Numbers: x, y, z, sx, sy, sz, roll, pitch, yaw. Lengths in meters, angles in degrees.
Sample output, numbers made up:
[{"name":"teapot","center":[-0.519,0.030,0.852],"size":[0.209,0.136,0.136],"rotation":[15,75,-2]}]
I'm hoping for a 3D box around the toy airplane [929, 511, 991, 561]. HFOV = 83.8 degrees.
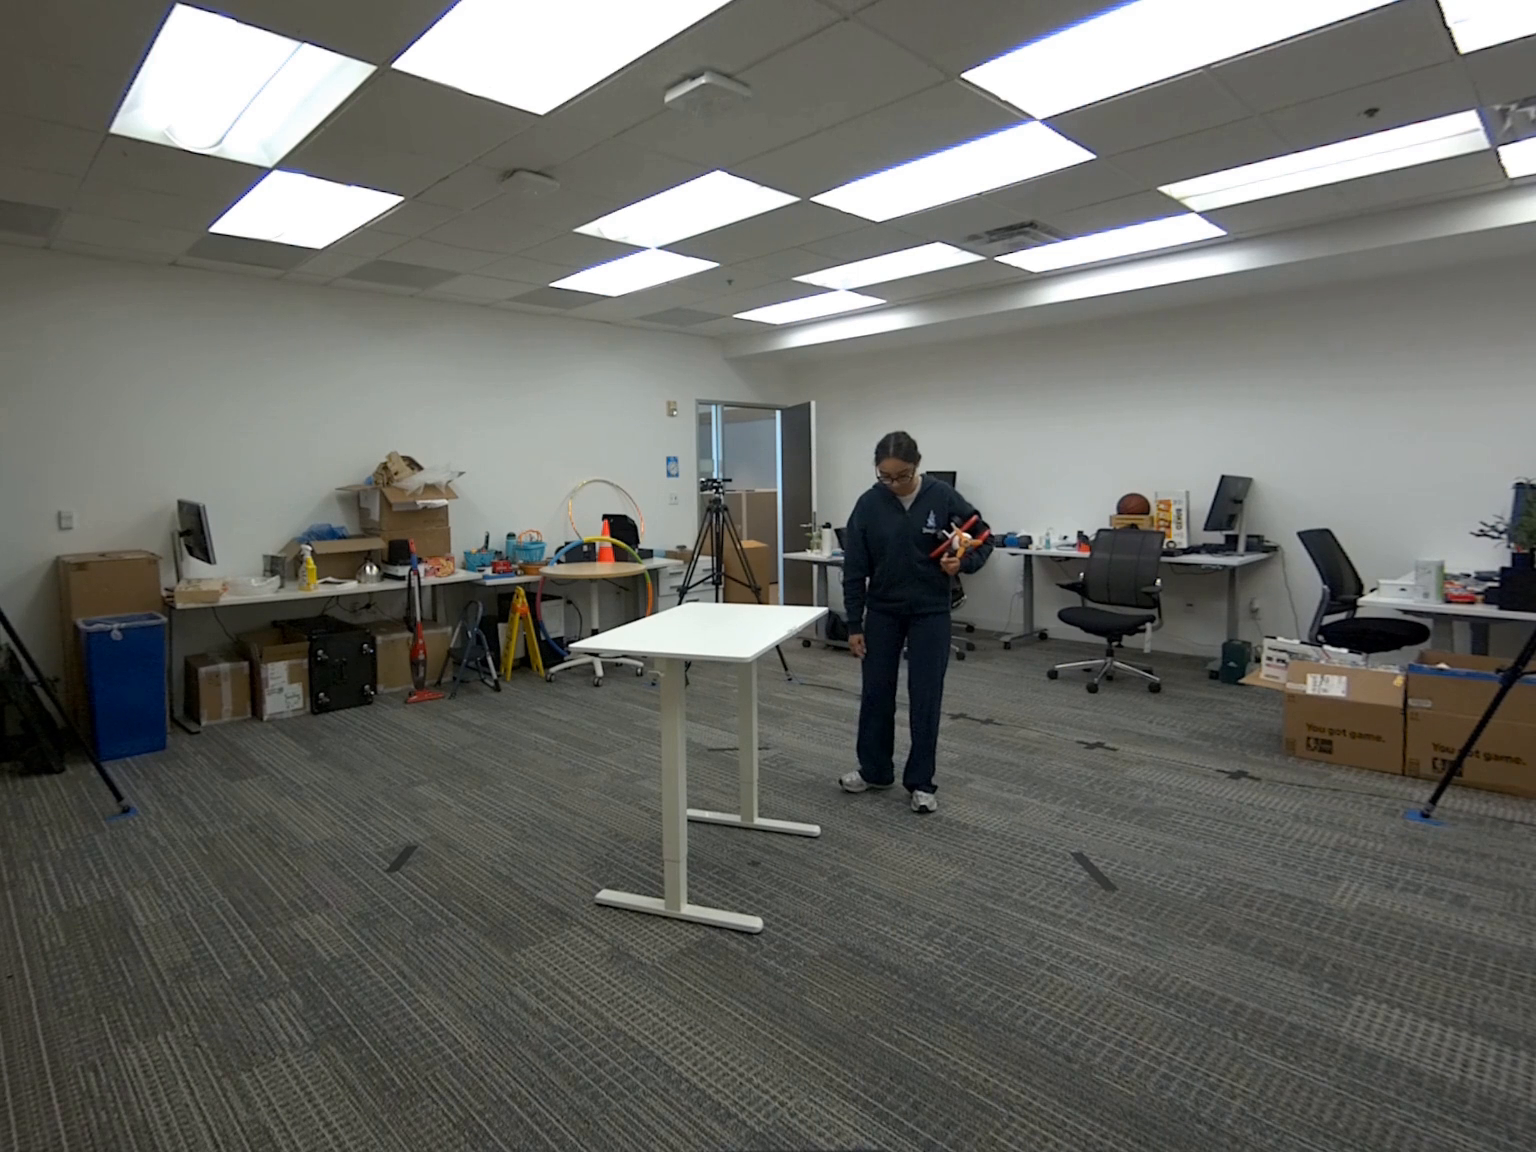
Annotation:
[{"name":"toy airplane","center":[0.782,-0.155,3.551],"size":[0.251,0.159,0.254],"rotation":[-46,-13,25]}]
